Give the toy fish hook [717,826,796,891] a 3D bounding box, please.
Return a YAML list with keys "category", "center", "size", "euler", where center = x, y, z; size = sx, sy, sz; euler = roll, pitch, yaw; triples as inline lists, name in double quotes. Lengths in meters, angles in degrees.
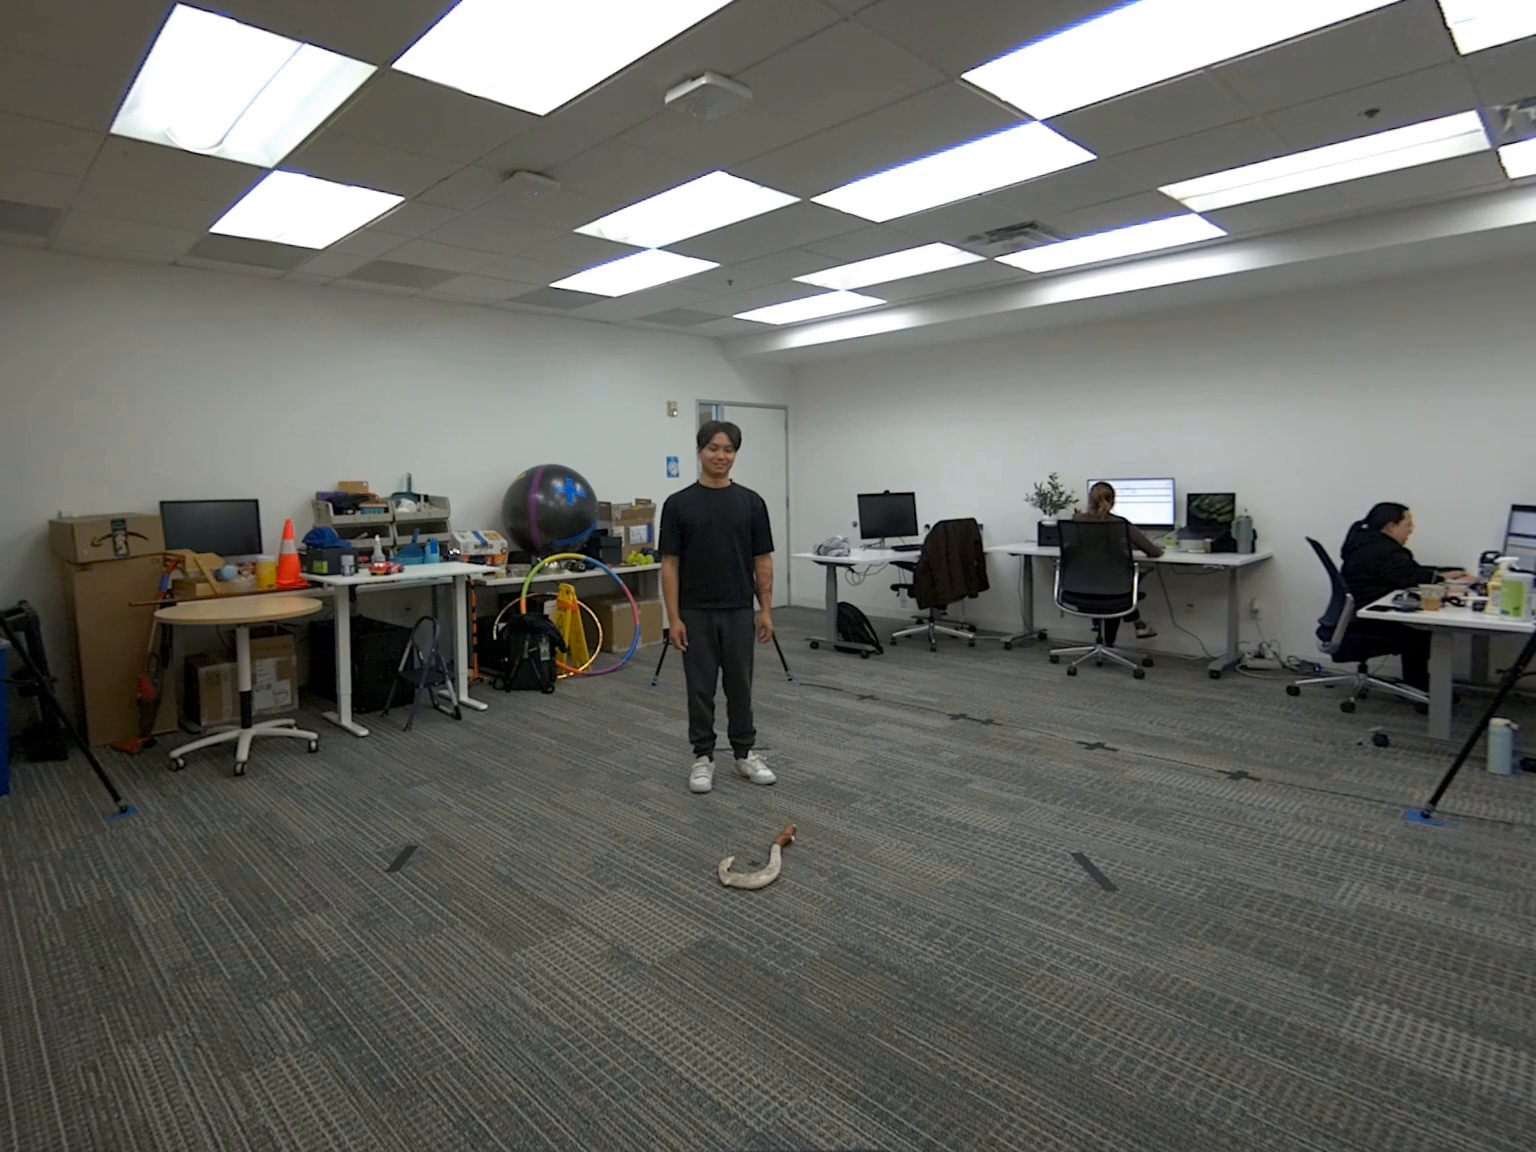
- category: "toy fish hook"
  center: [-0.032, 1.021, 3.145]
  size: [0.229, 0.048, 0.499]
  euler: [3, 7, 18]
